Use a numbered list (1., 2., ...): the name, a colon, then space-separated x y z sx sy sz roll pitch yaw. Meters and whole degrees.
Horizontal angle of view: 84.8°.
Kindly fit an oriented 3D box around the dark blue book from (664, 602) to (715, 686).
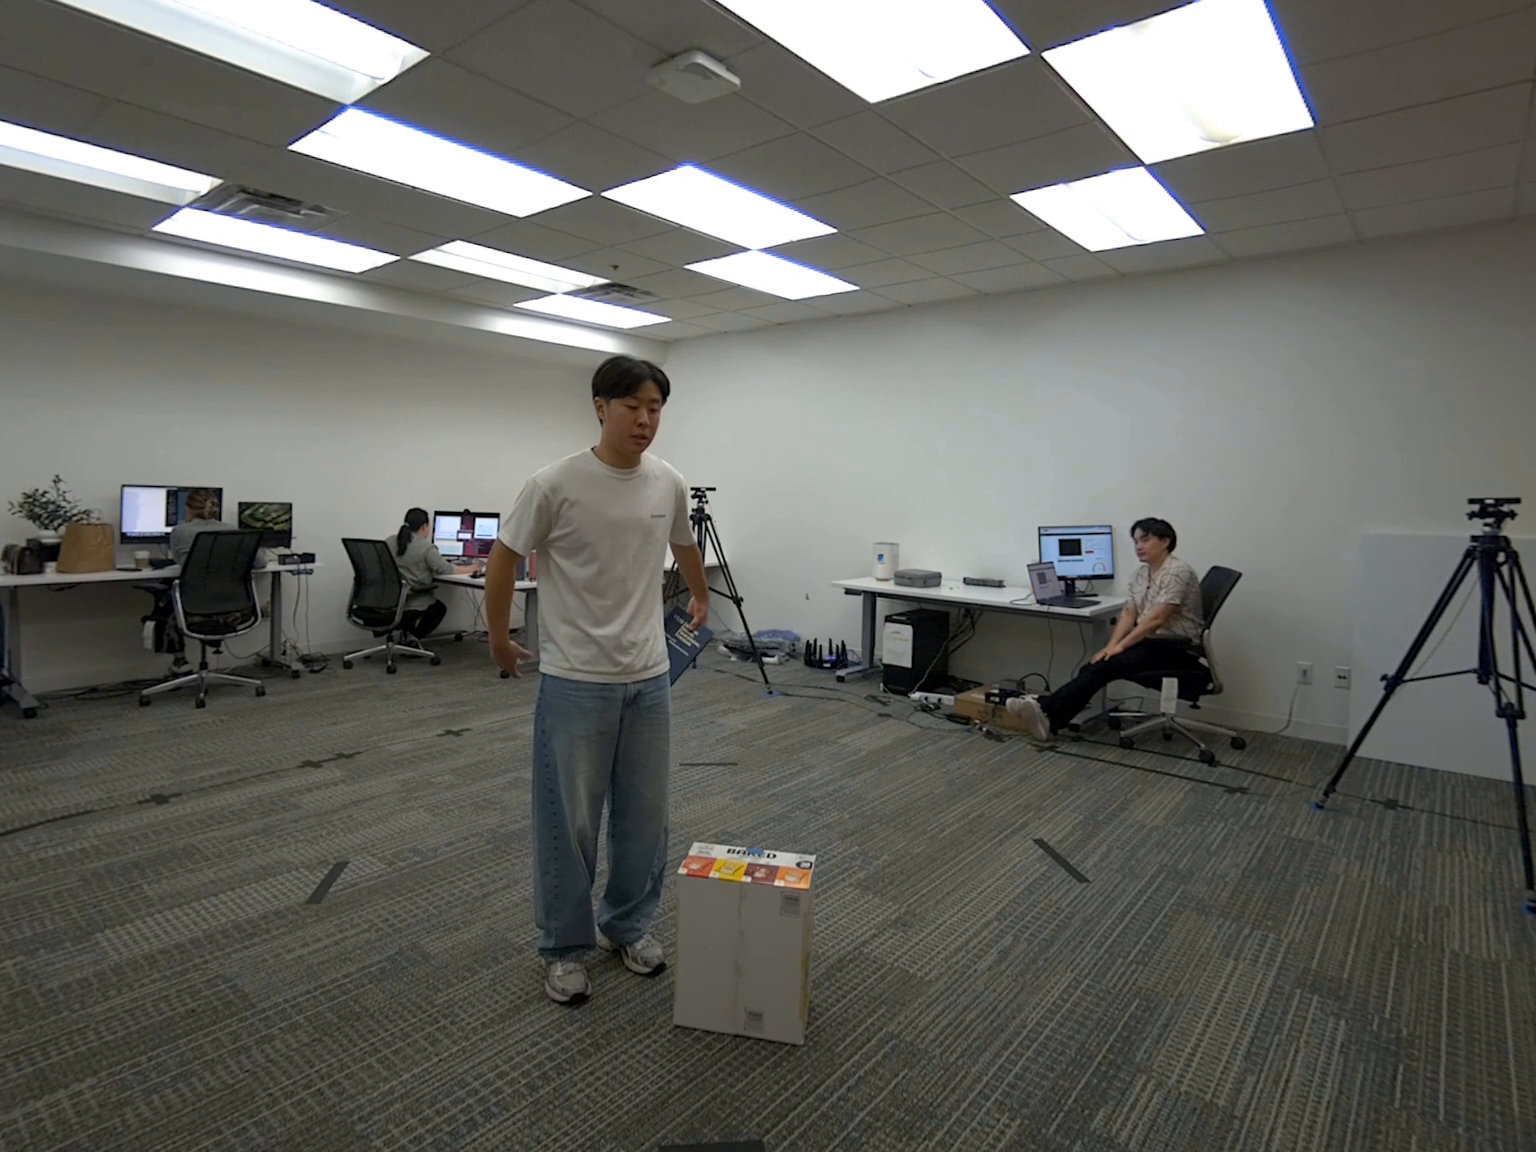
1. dark blue book: -0.319 0.231 2.771 0.166 0.245 0.044 36 -25 11
